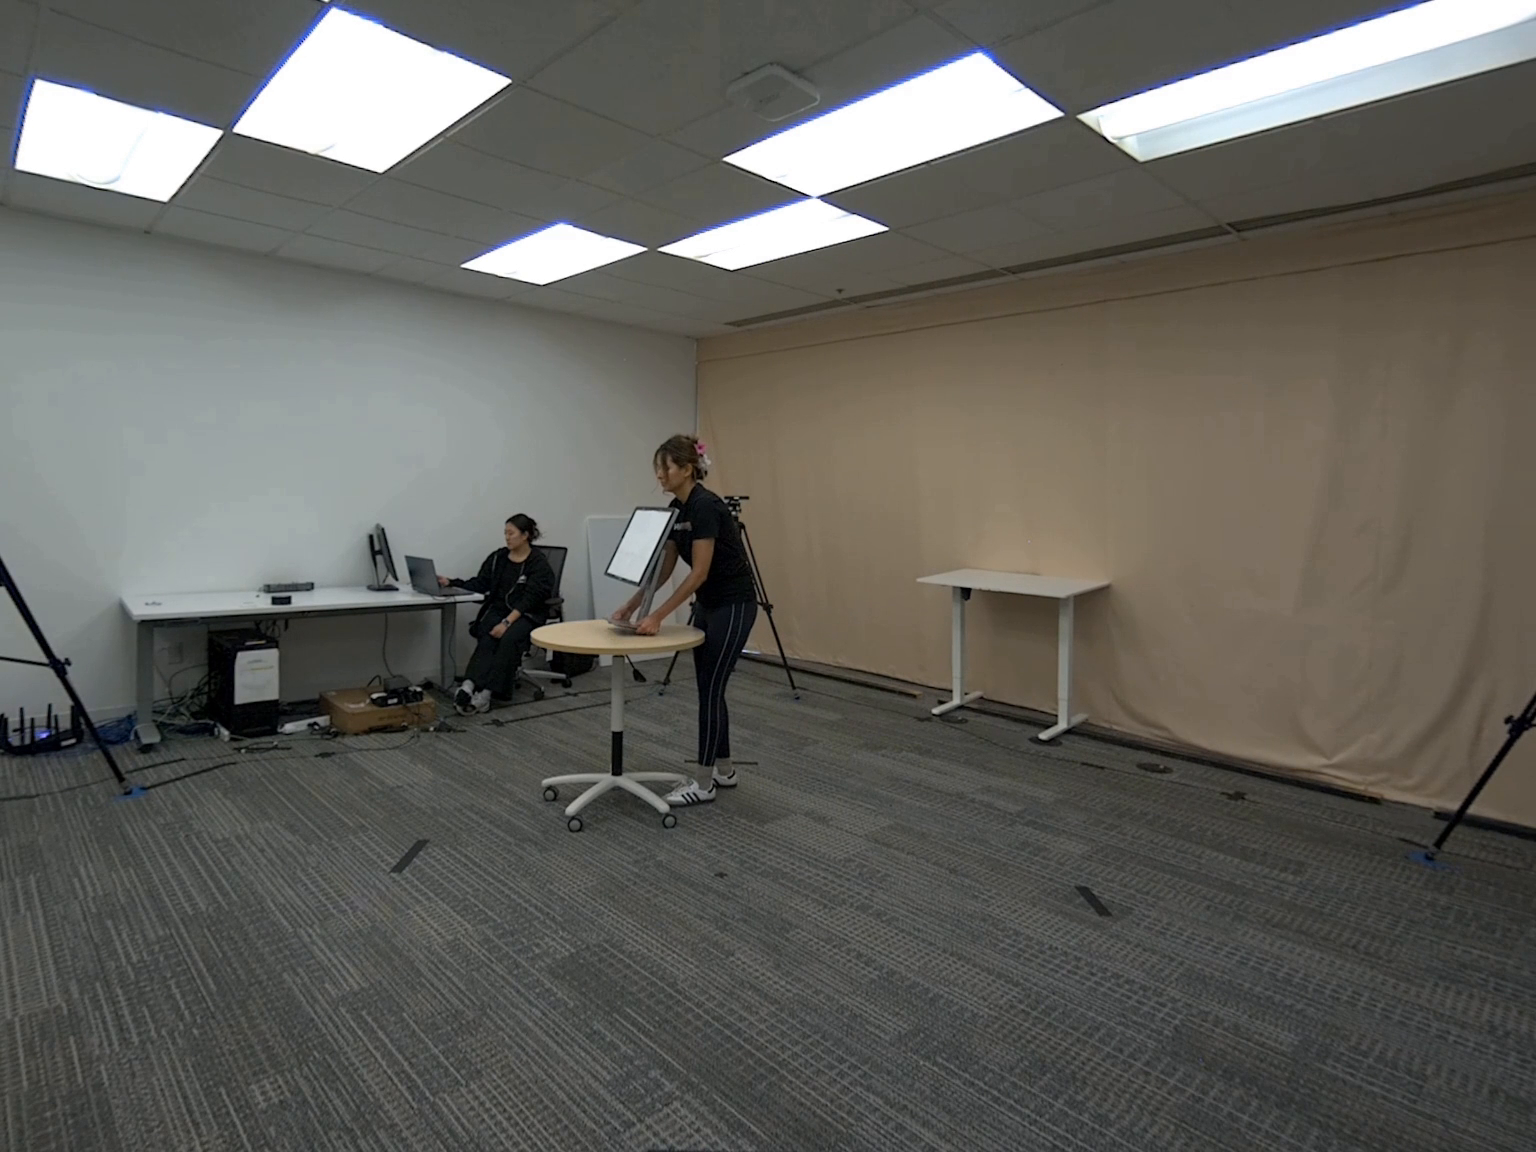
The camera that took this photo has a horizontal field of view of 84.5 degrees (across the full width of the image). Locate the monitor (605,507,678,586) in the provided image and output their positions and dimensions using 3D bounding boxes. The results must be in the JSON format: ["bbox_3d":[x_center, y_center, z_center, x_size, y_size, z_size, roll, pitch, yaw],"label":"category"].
[{"bbox_3d":[-0.567,-0.040,3.766,0.183,0.523,0.550,12,-1,-27],"label":"monitor"}]
